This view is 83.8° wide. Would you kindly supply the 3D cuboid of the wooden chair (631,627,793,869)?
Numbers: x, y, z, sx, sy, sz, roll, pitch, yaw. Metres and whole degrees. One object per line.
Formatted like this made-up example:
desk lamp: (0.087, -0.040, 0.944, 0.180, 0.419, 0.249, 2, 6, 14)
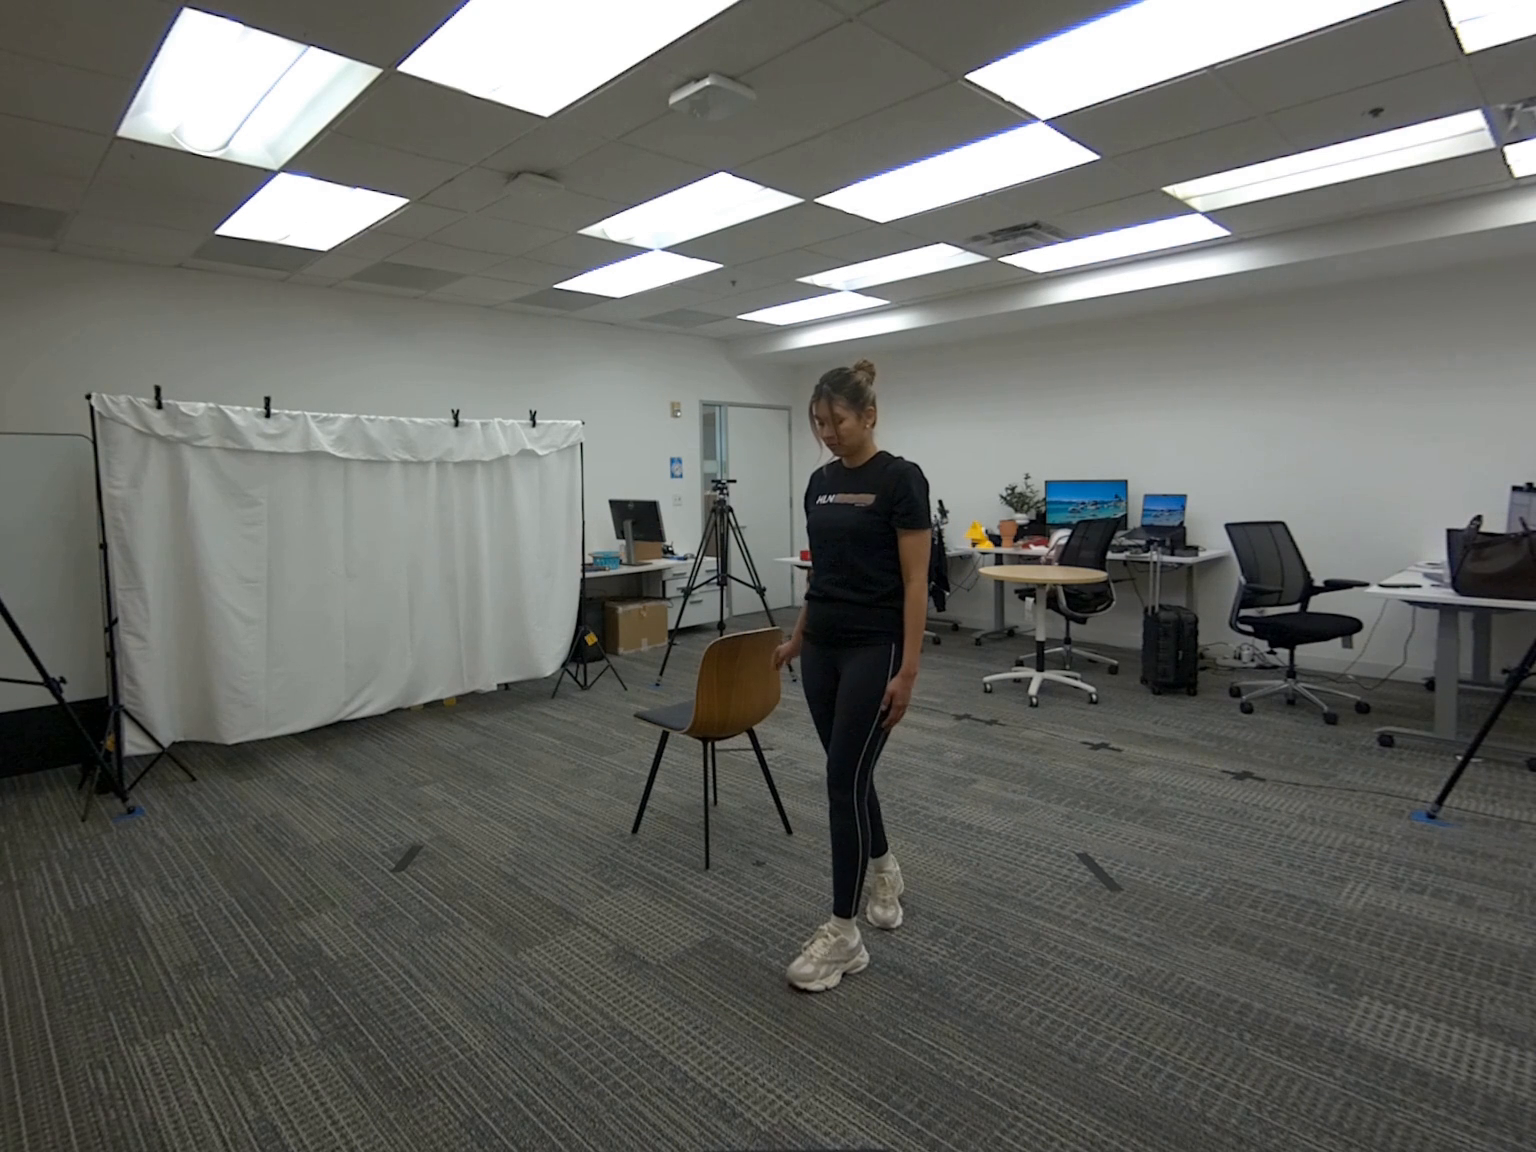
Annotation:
wooden chair: (-0.235, 0.596, 3.353, 0.465, 0.872, 0.540, -5, 10, -44)
